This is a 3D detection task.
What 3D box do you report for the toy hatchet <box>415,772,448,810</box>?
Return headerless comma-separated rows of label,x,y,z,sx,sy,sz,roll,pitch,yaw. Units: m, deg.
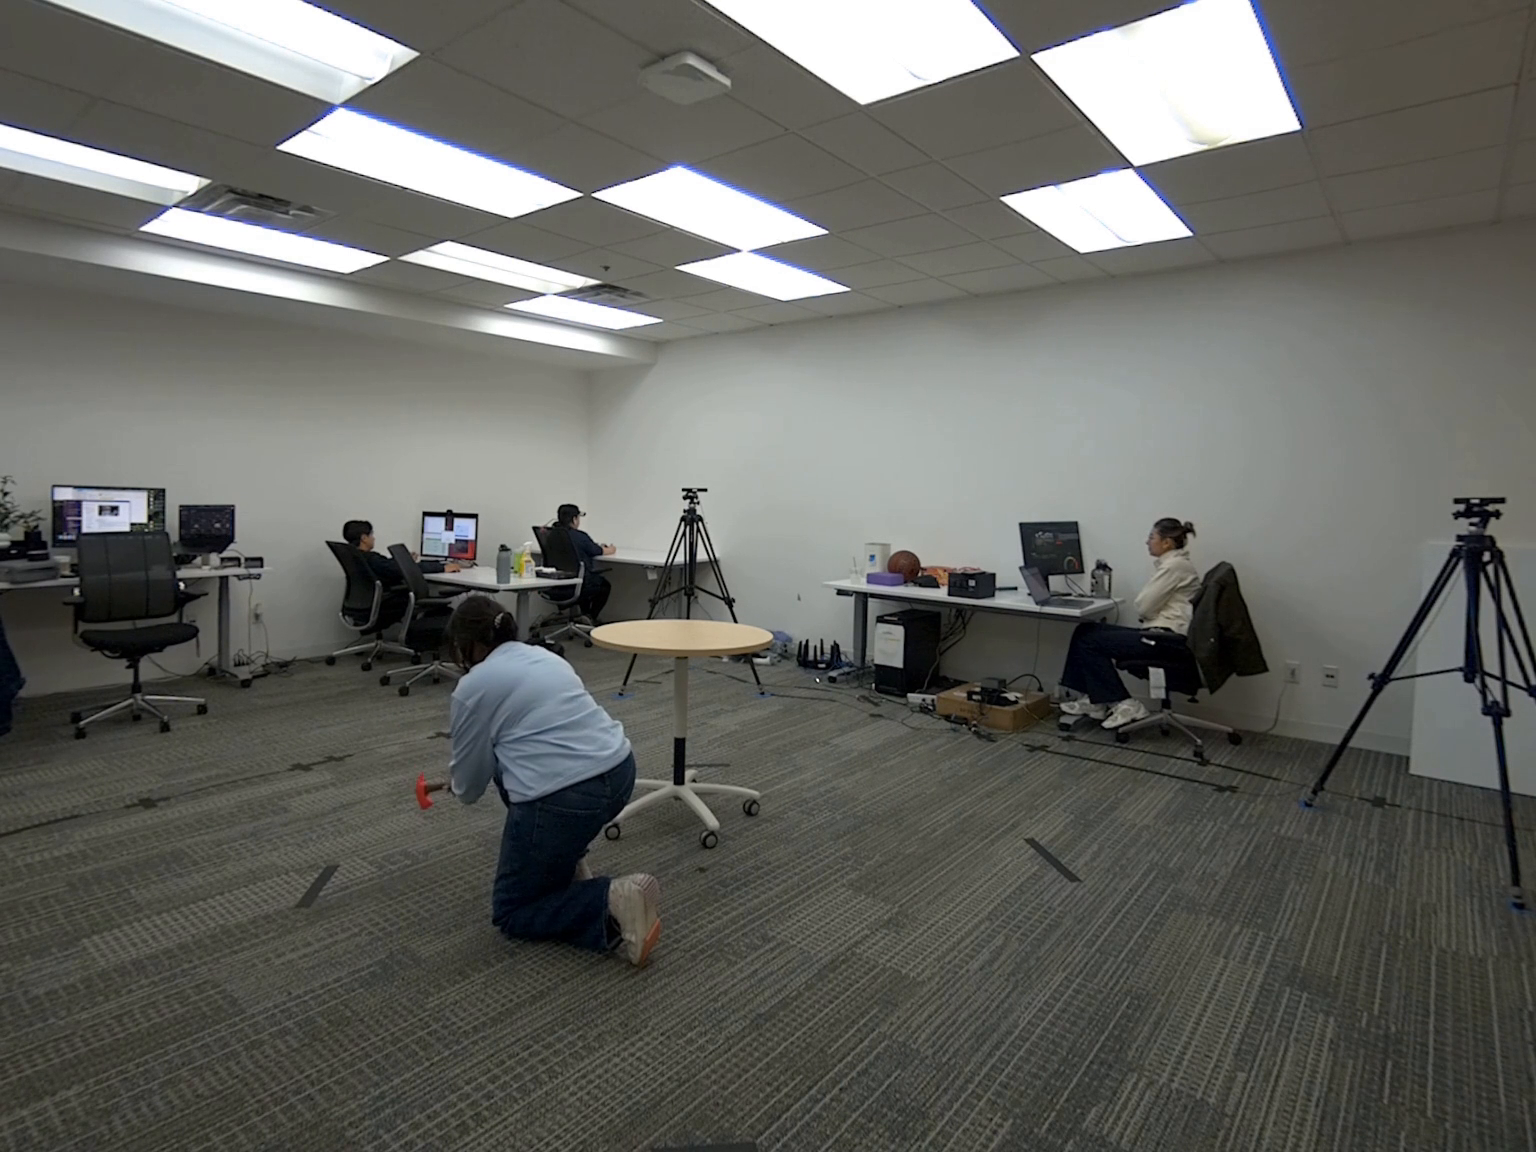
toy hatchet,-1.192,0.793,3.090,0.278,0.131,0.028,8,-5,26
